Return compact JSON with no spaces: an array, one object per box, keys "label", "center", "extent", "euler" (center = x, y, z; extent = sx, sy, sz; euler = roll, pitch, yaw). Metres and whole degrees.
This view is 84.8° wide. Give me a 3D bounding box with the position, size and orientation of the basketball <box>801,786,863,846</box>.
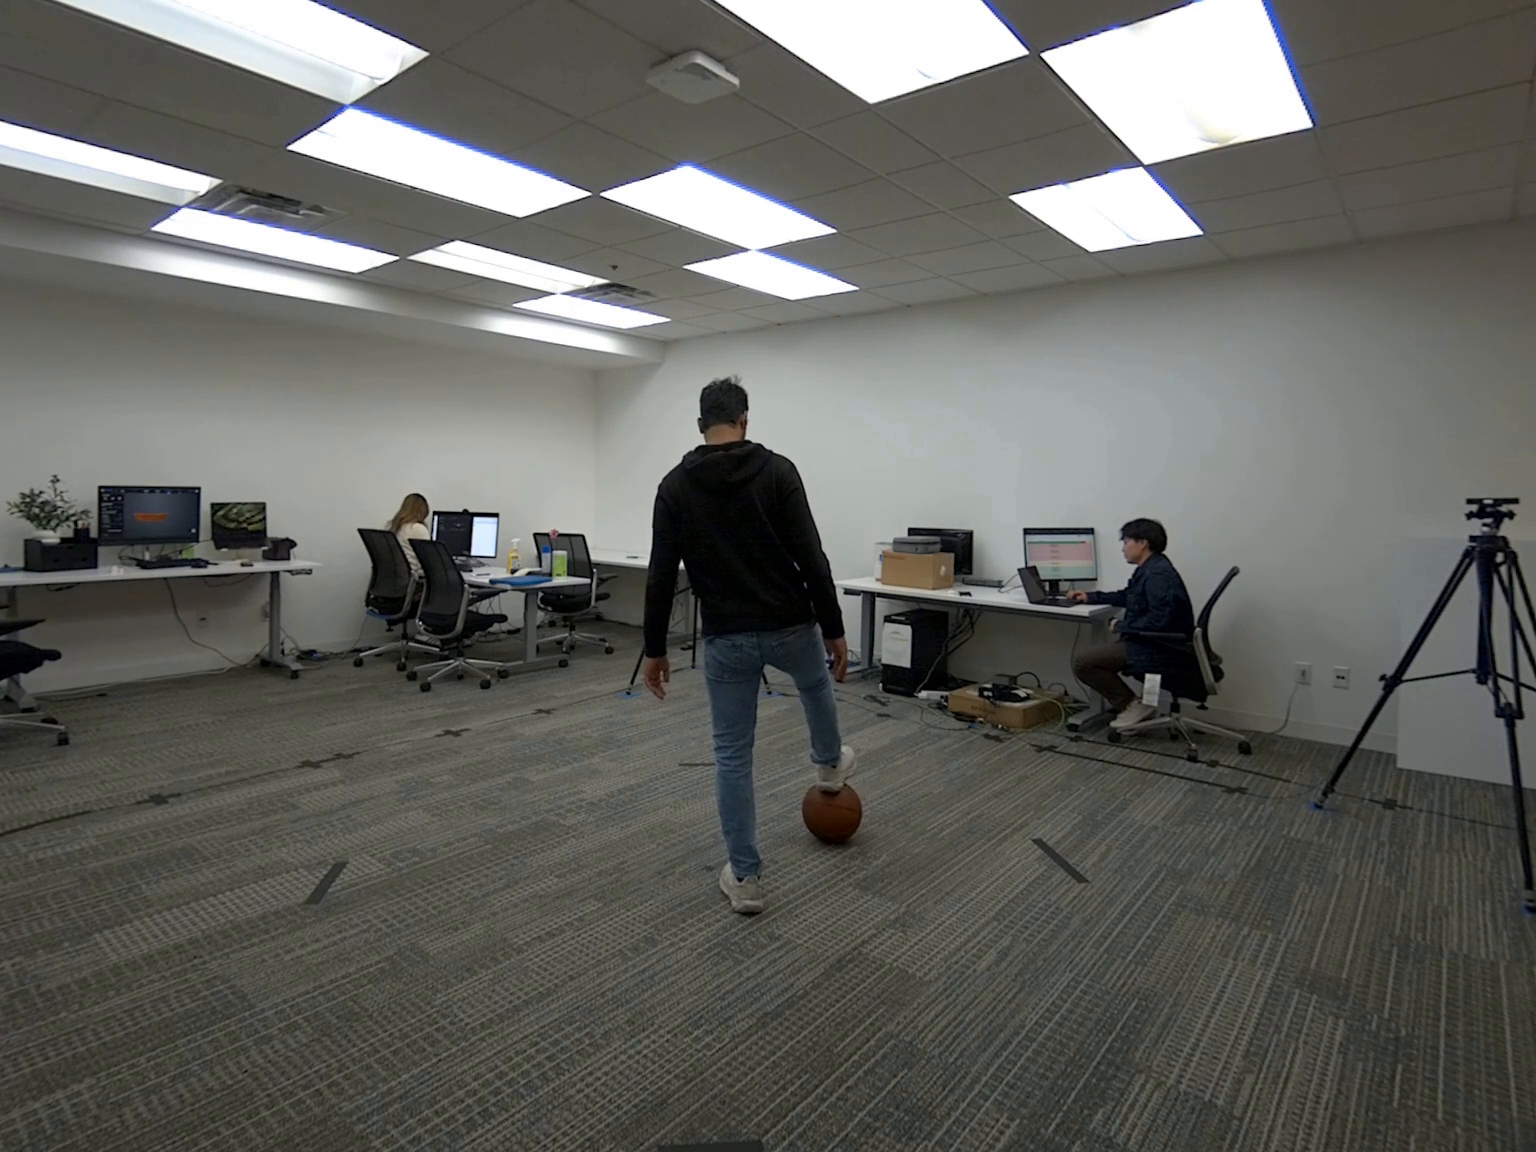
[{"label":"basketball","center":[0.241,0.932,3.377],"extent":[0.235,0.235,0.237],"euler":[1,4,-2]}]
